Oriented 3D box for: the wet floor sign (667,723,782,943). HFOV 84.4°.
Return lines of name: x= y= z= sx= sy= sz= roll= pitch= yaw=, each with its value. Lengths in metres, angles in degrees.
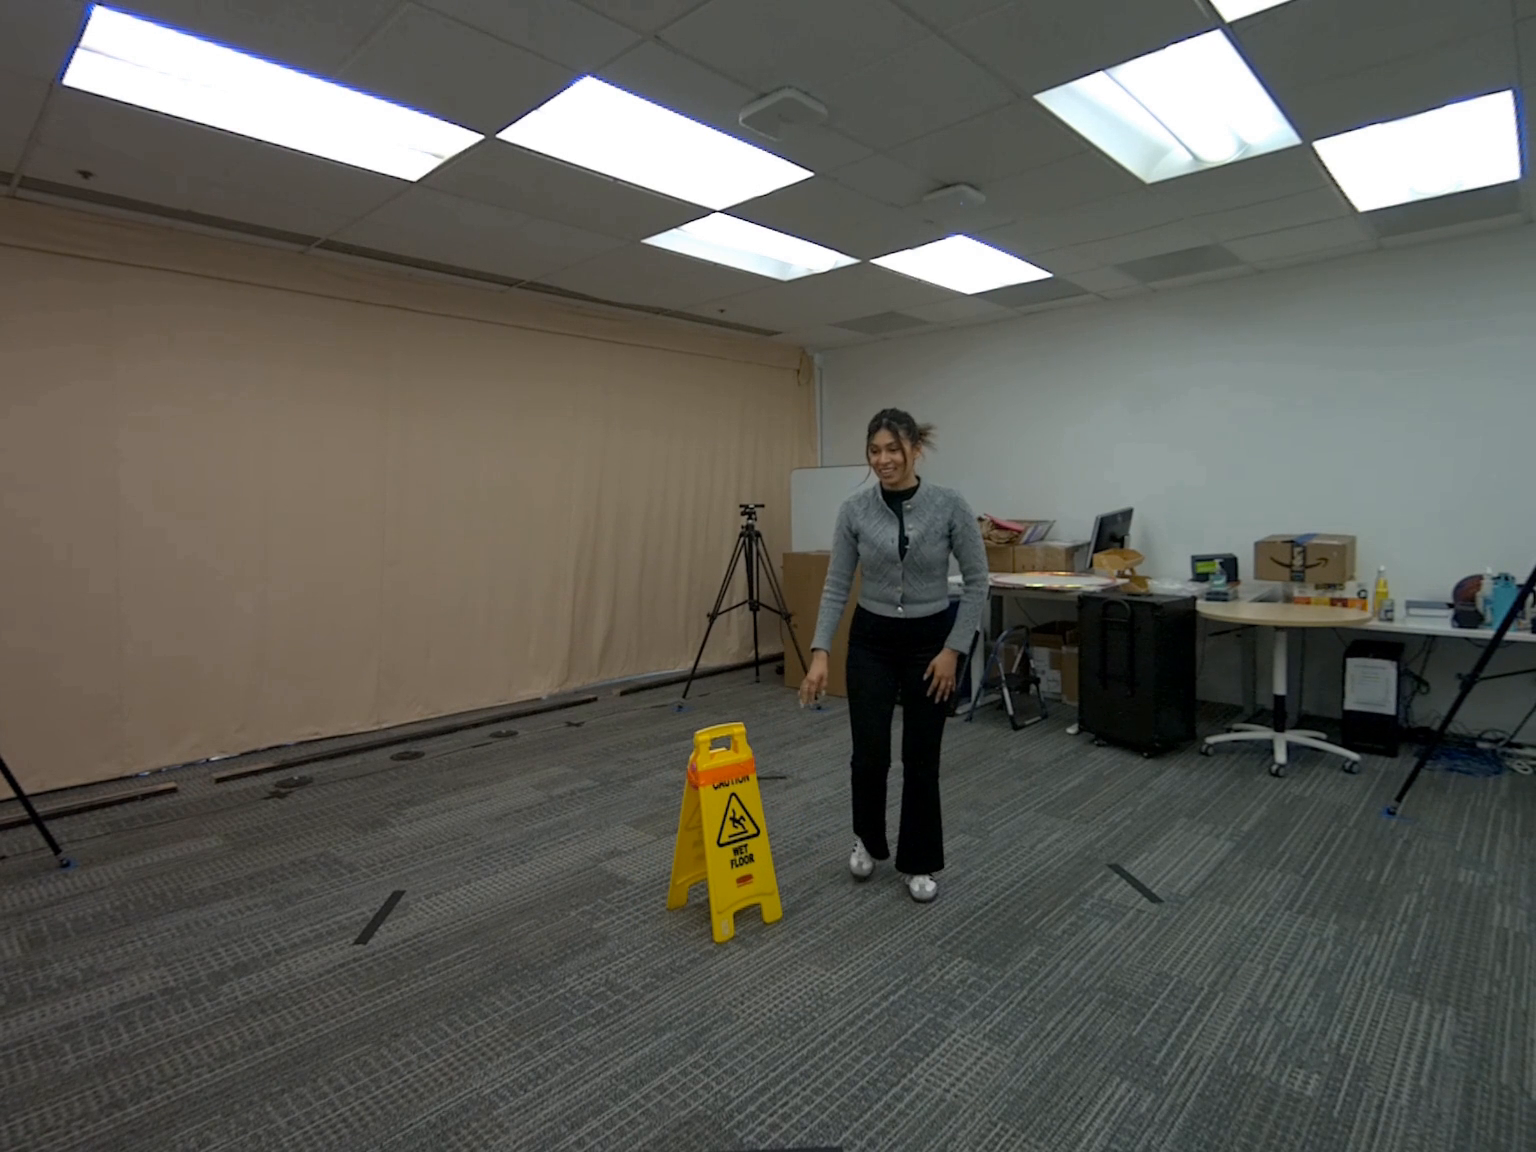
wet floor sign: x=-0.157 y=0.833 z=2.857 sx=0.274 sy=0.645 sz=0.299 roll=-3 pitch=3 yaw=-37
